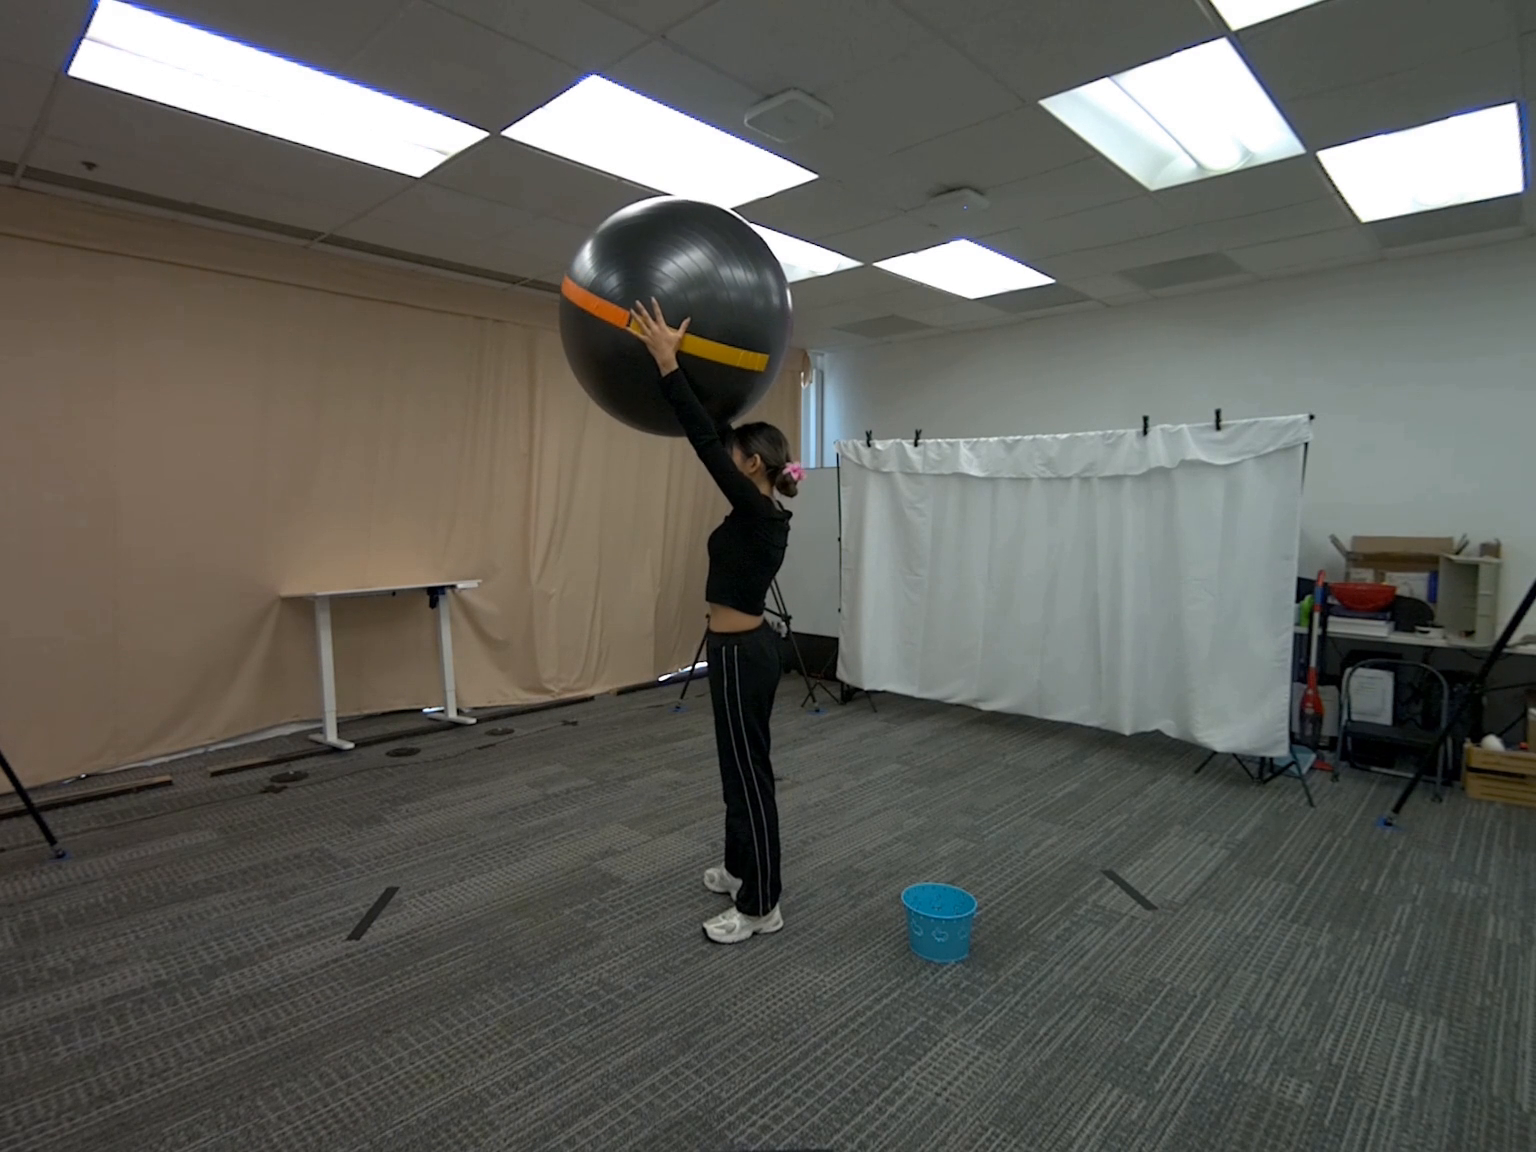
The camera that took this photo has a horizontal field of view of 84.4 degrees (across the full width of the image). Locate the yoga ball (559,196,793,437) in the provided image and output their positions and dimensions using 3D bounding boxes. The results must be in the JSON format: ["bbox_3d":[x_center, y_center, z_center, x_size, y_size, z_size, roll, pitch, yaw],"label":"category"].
[{"bbox_3d":[-0.299,-0.835,2.758,0.757,0.756,0.760,0,4,-2],"label":"yoga ball"}]
